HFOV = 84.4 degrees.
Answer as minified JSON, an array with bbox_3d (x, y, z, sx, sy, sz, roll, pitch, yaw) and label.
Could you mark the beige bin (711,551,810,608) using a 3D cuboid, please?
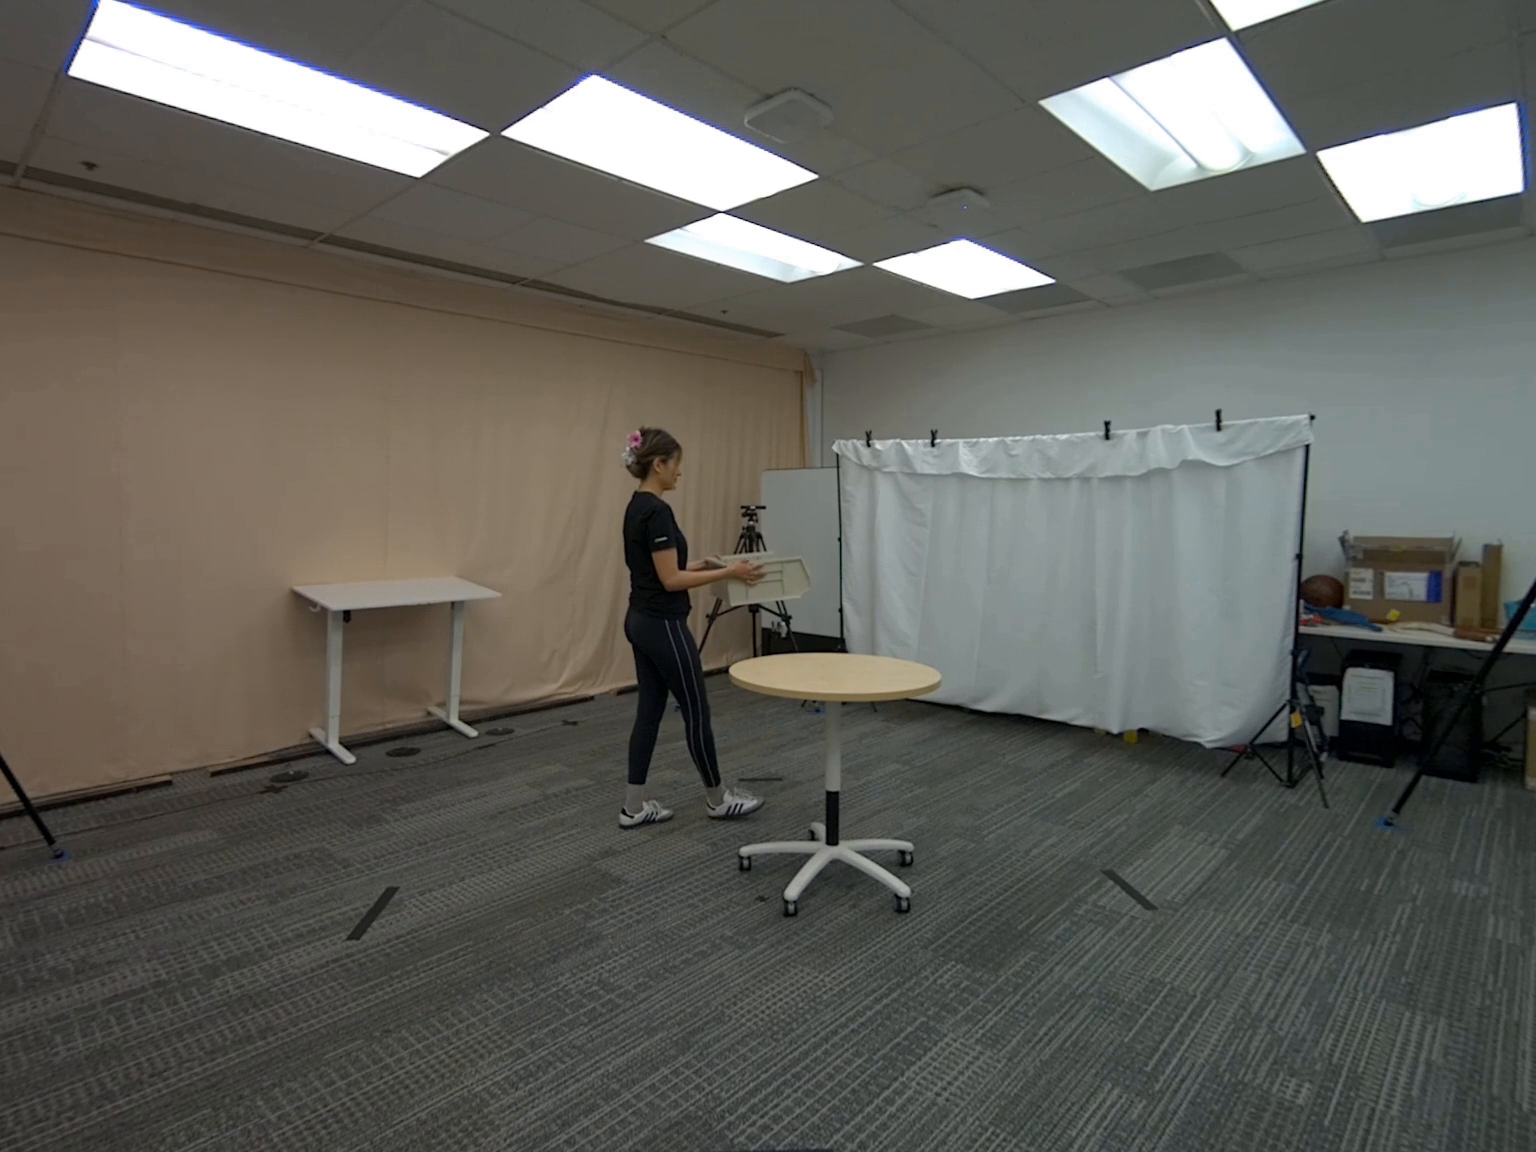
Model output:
[{"bbox_3d":[-0.041,0.010,3.780,0.372,0.188,0.430,-7,6,-14],"label":"beige bin"}]
